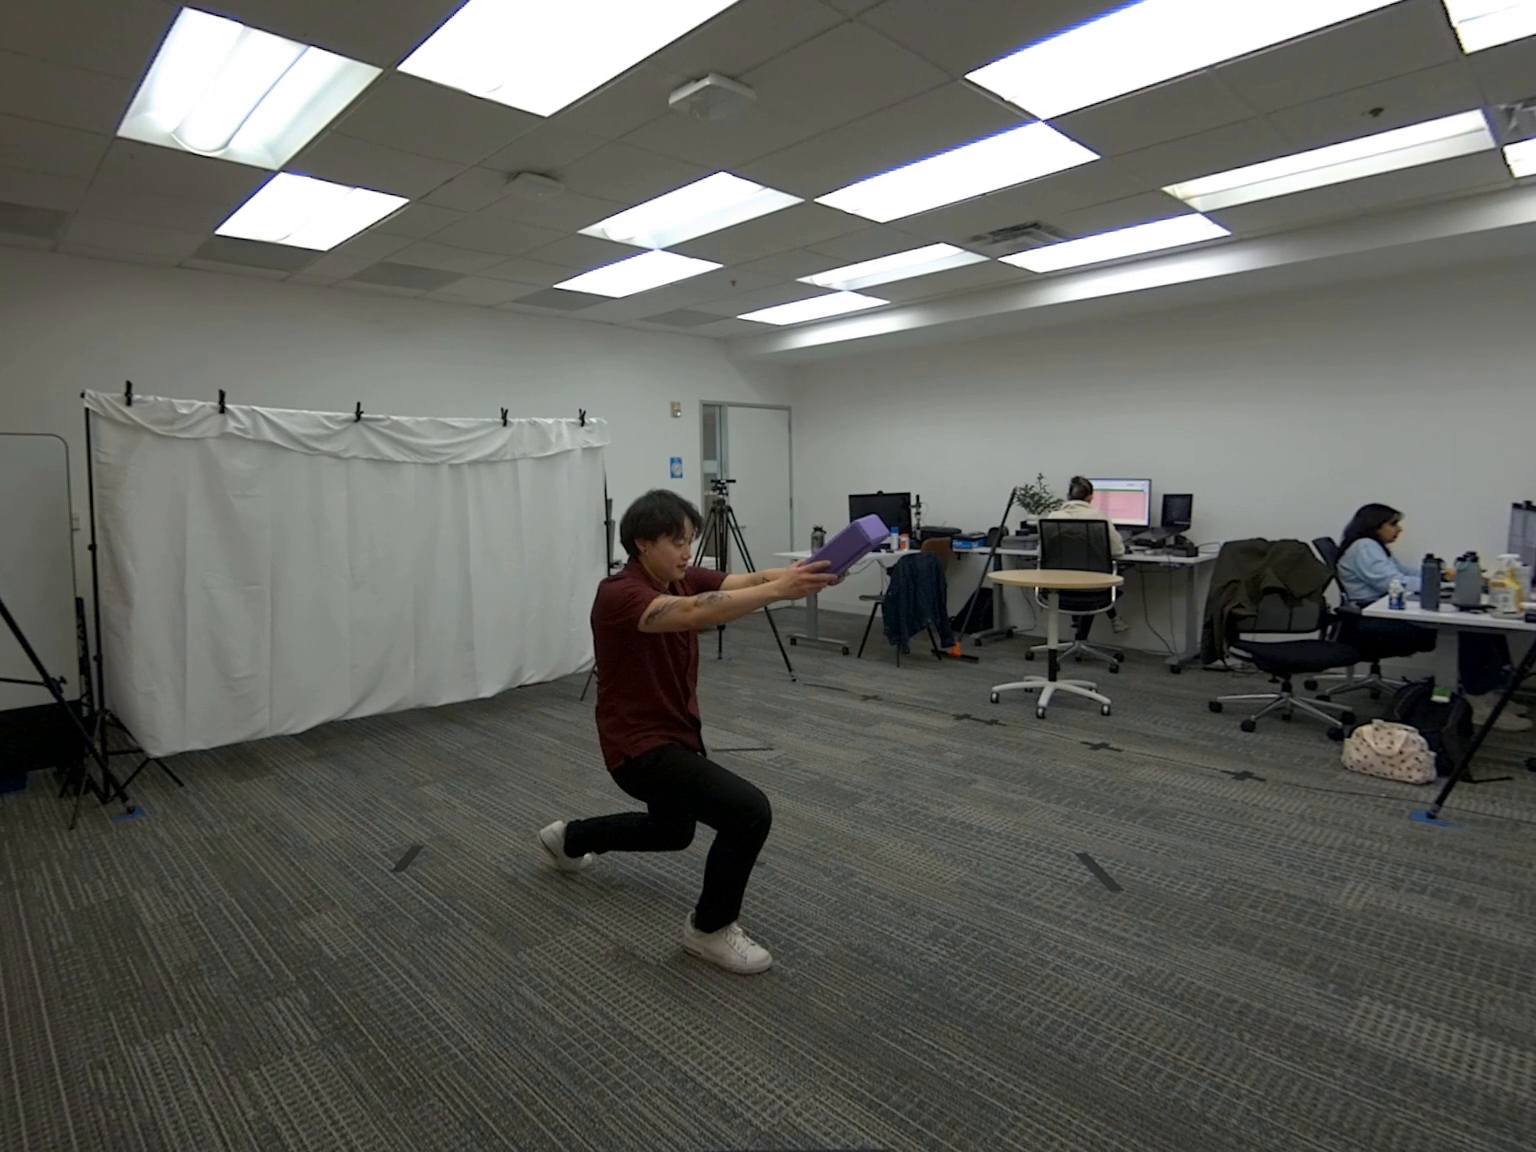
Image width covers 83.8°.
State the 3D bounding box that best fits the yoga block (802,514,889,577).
[{"bbox_3d":[0.212,-0.058,2.303,0.230,0.077,0.146,-40,-10,28],"label":"yoga block"}]
